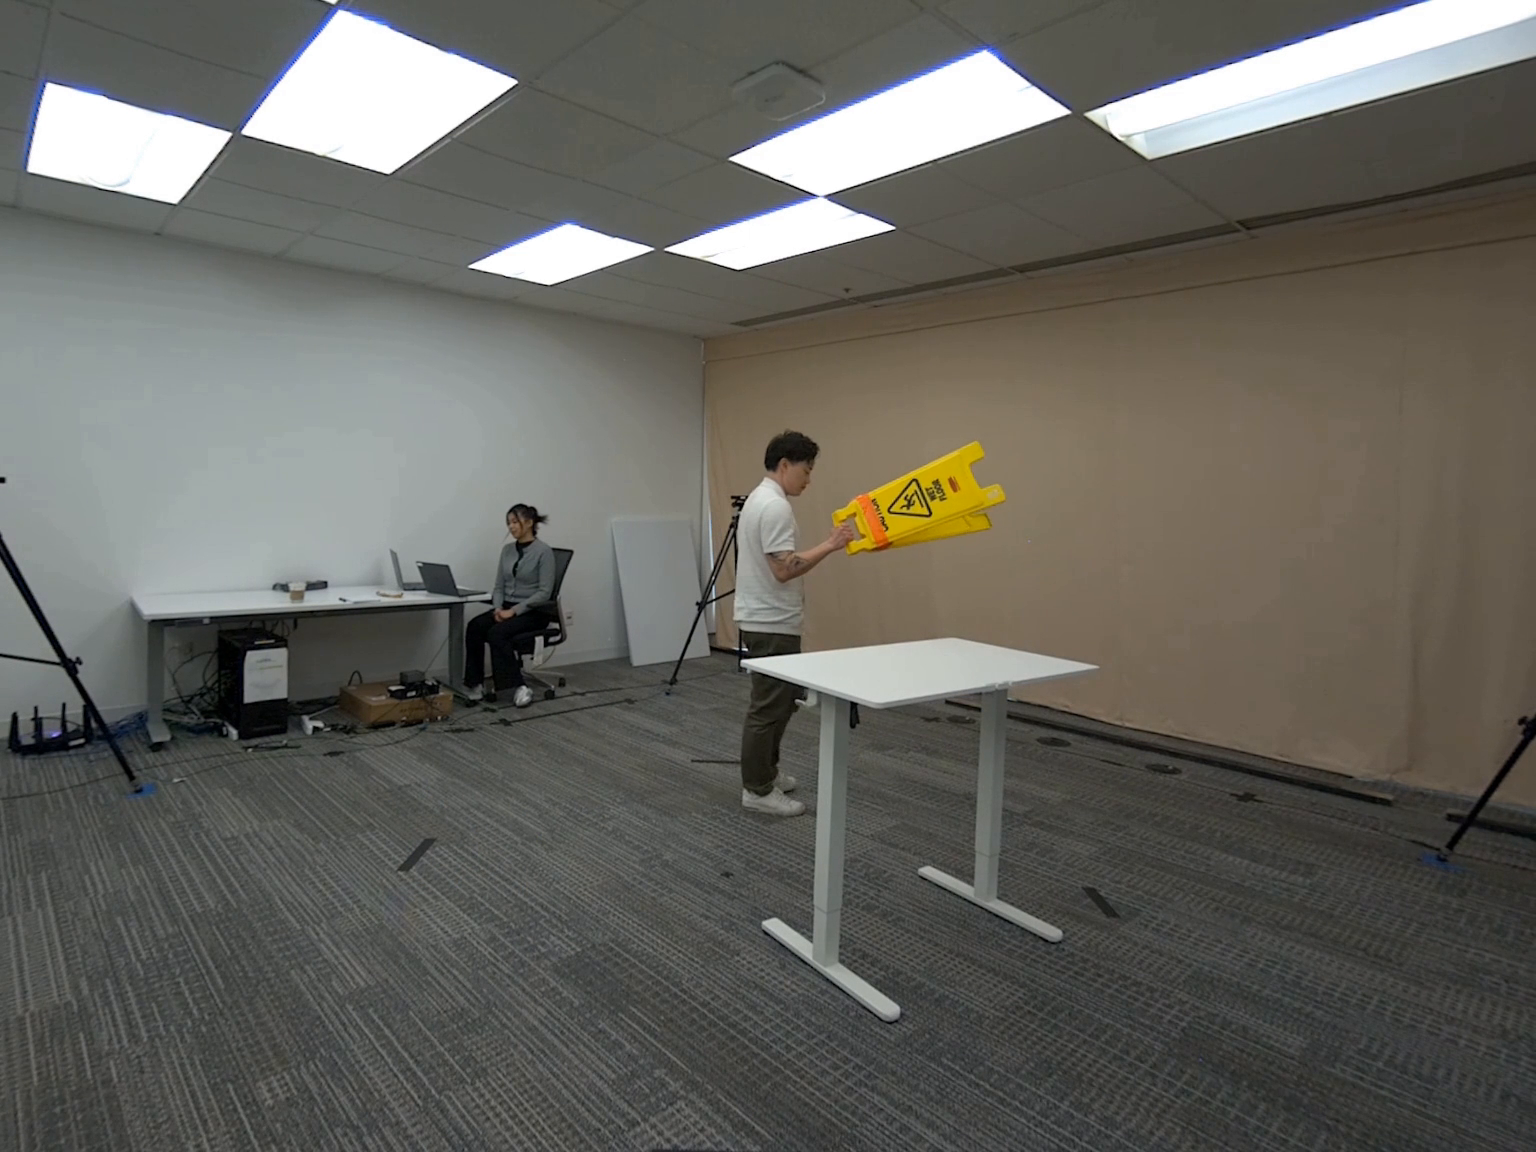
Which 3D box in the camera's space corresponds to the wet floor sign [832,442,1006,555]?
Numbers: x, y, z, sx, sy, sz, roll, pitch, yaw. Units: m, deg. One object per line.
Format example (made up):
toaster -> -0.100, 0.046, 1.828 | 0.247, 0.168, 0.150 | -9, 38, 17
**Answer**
wet floor sign -> 0.584, -0.274, 3.477 | 0.645, 0.288, 0.284 | -19, -21, -2
